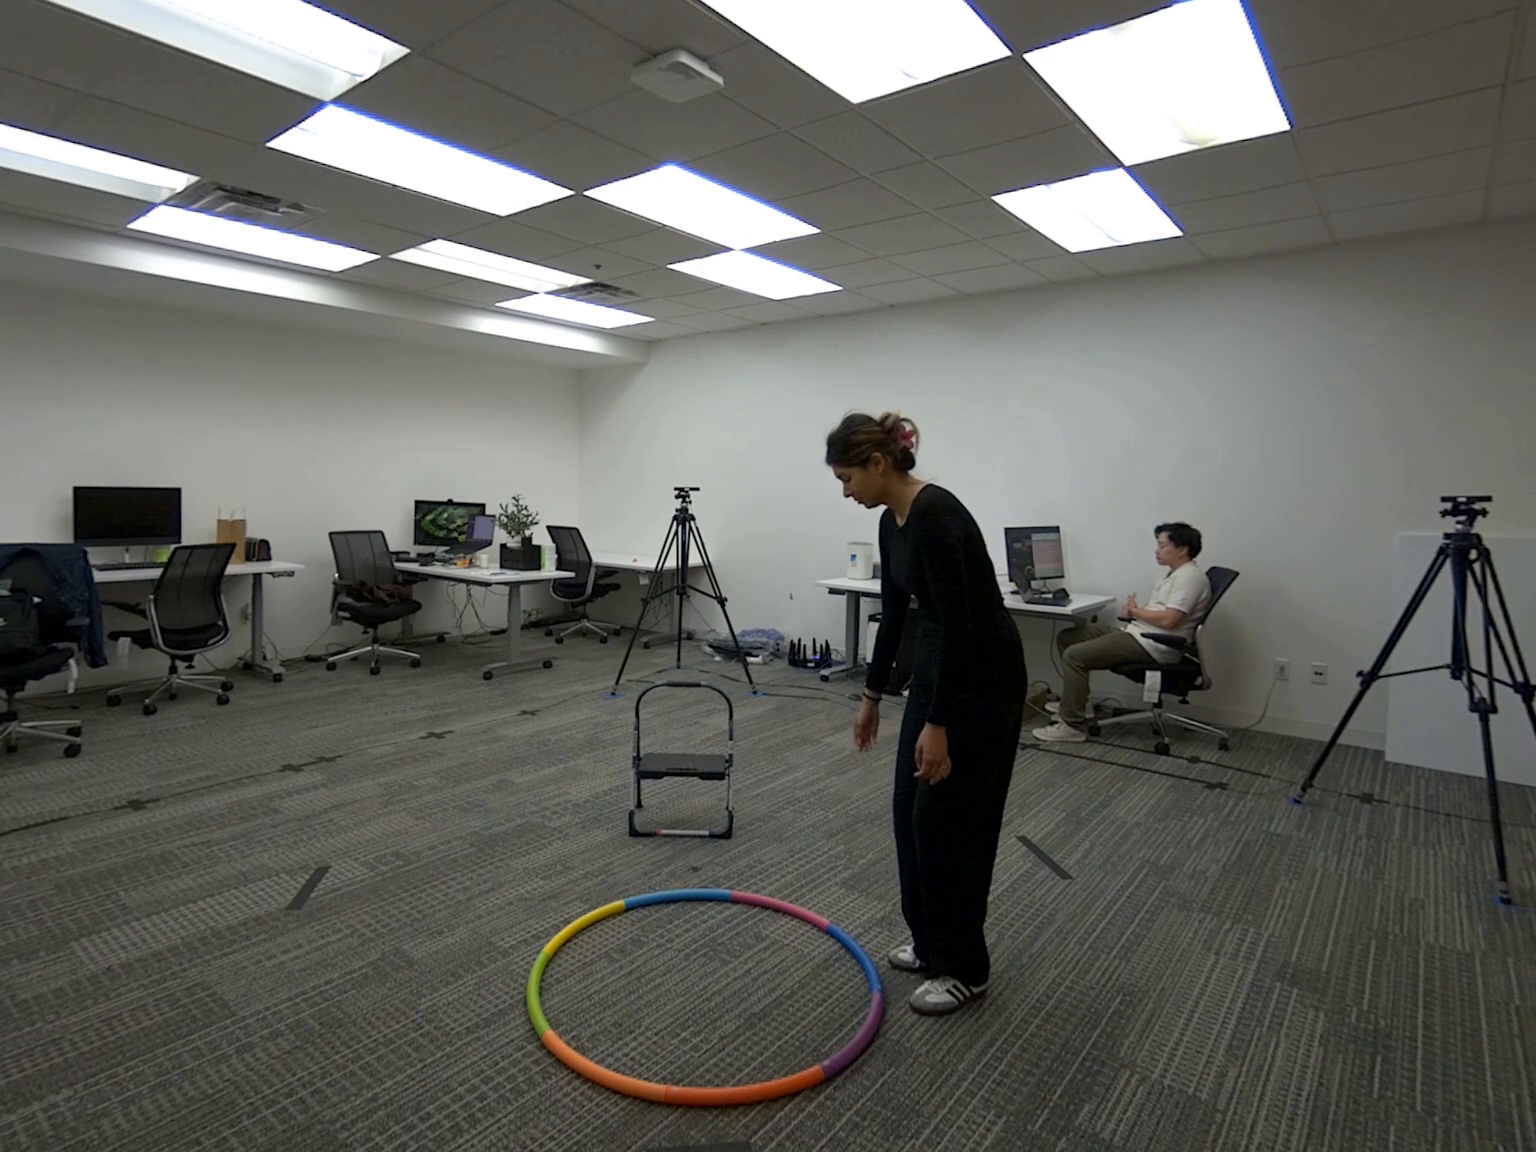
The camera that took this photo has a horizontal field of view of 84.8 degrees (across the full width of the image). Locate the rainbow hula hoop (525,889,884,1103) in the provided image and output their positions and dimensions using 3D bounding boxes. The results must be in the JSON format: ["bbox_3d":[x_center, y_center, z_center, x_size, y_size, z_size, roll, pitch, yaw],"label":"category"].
[{"bbox_3d":[-0.182,1.104,2.400,0.978,0.035,0.984,1,6,-2],"label":"rainbow hula hoop"}]
